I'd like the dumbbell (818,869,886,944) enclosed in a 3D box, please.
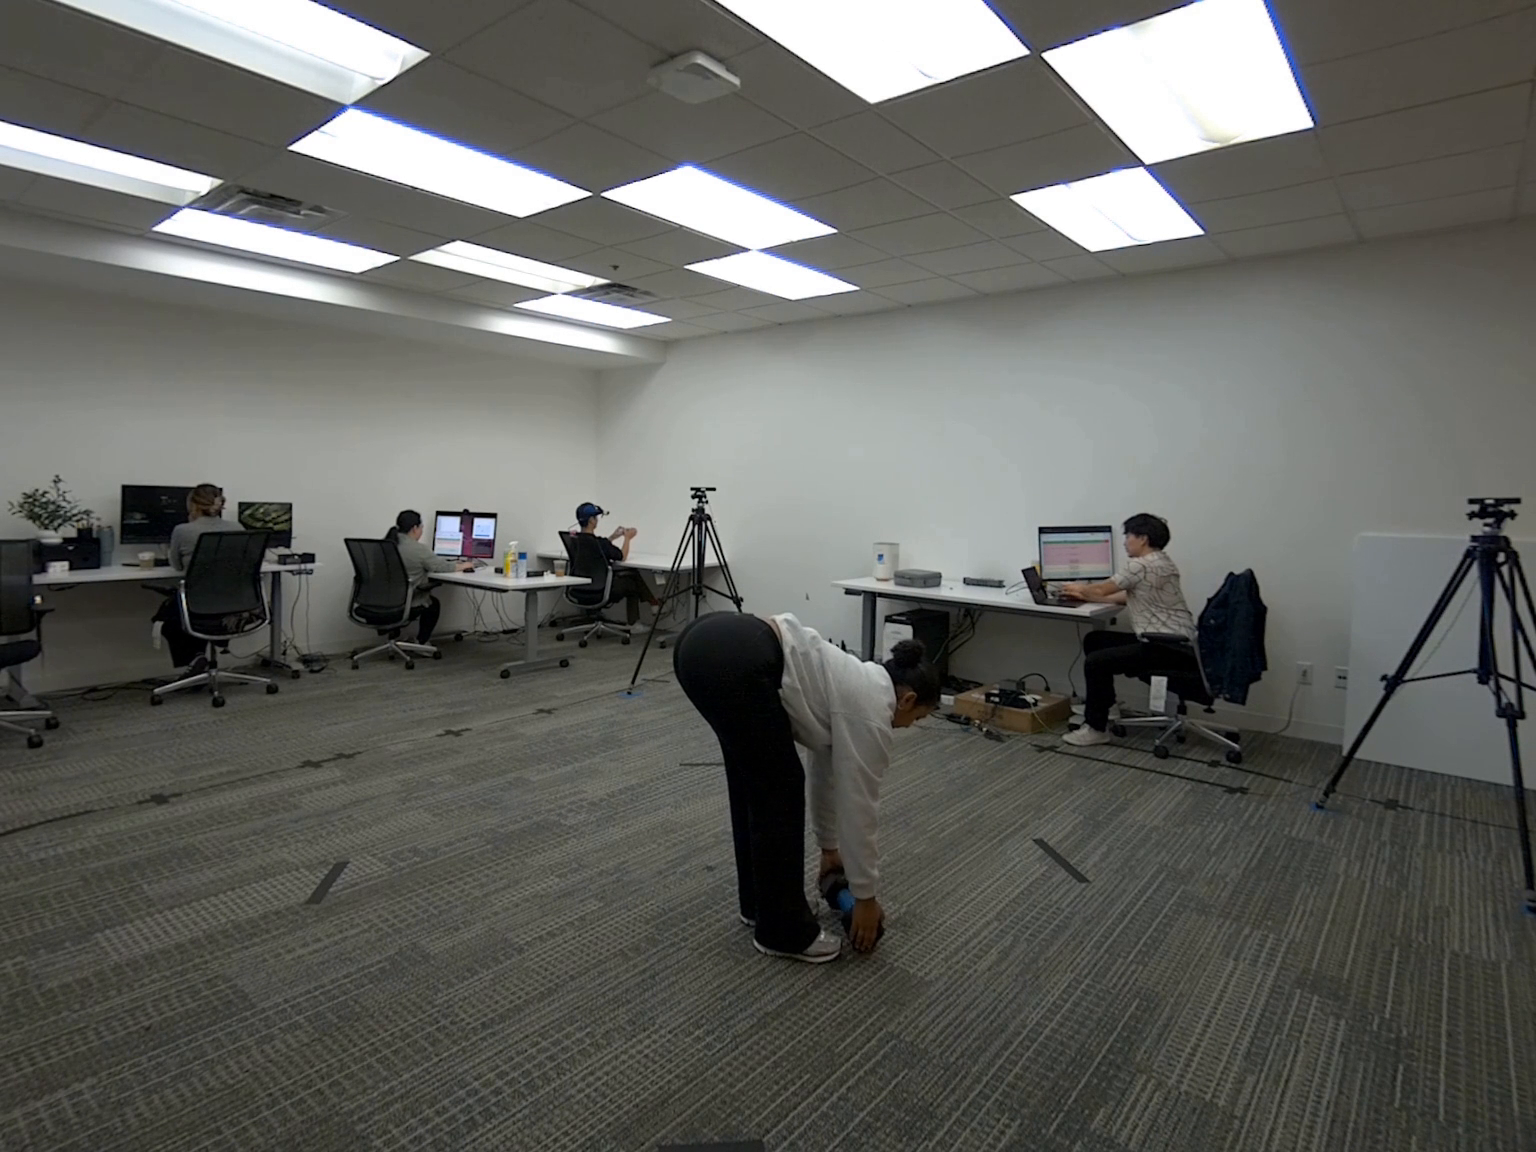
[{"bbox_3d":[0.247,1.052,2.691,0.108,0.121,0.299,-31,14,-9],"label":"dumbbell"}]
